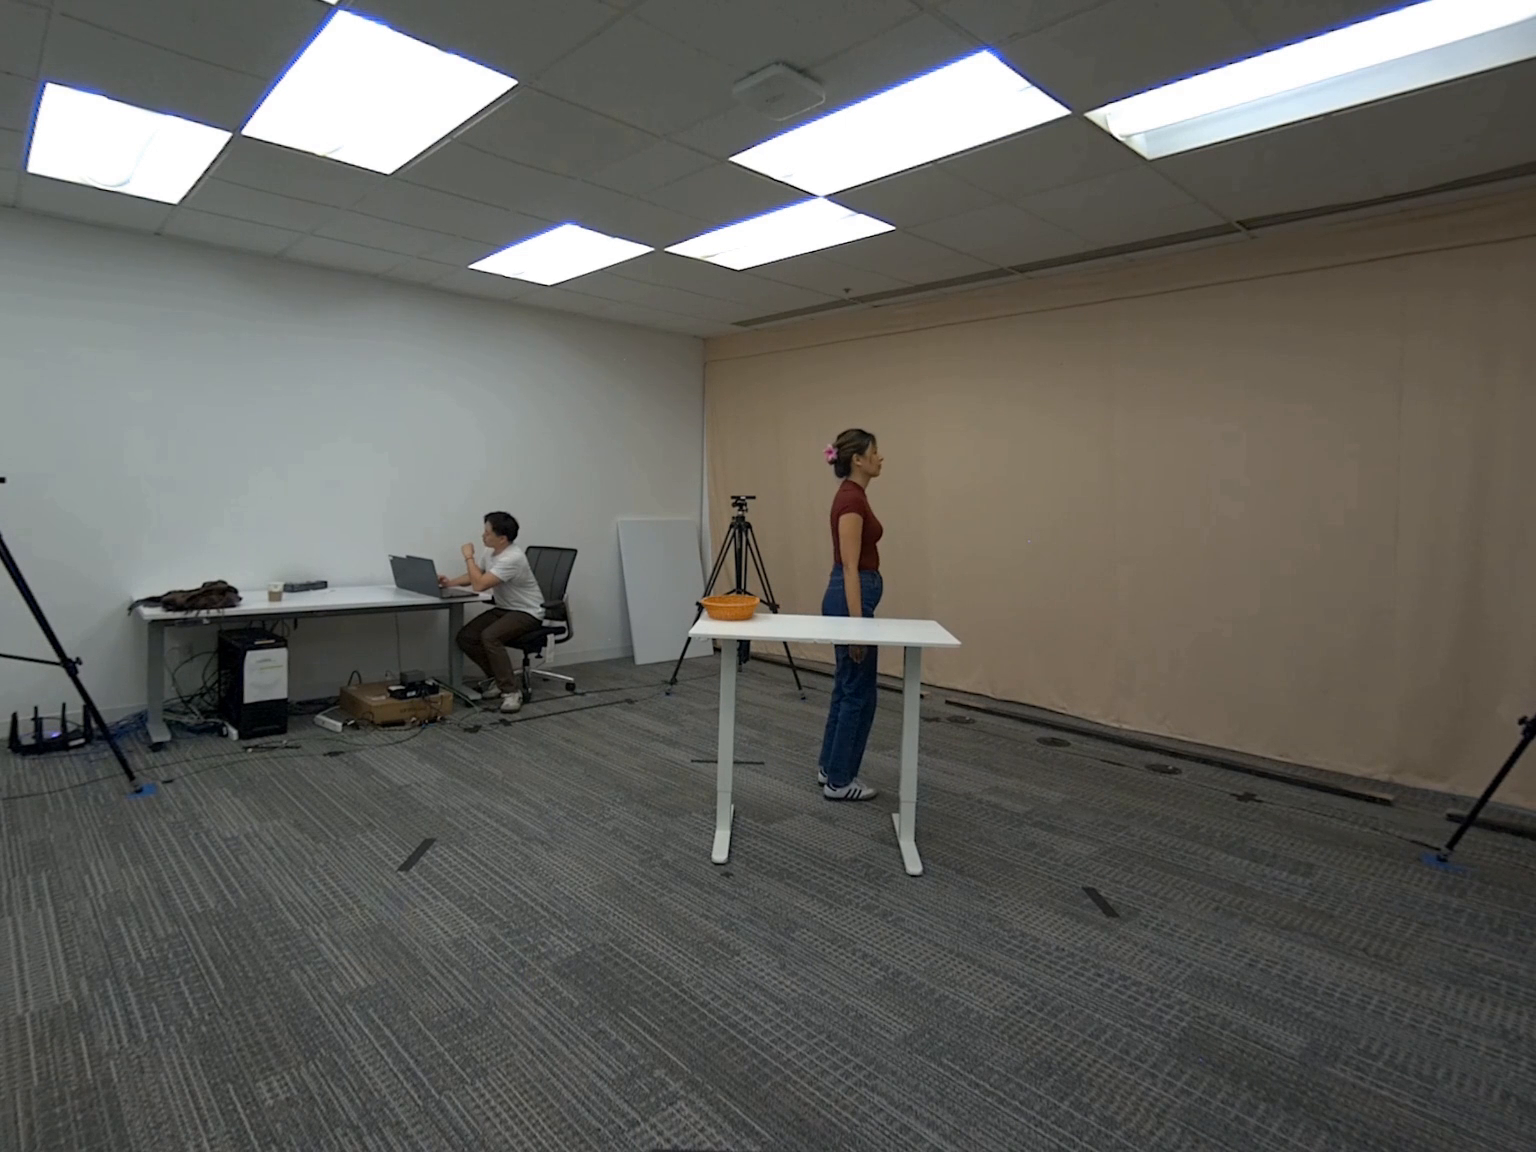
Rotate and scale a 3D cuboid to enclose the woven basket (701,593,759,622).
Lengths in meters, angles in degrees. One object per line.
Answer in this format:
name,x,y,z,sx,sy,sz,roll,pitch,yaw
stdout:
woven basket,-0.162,0.139,3.610,0.255,0.073,0.348,1,5,12
